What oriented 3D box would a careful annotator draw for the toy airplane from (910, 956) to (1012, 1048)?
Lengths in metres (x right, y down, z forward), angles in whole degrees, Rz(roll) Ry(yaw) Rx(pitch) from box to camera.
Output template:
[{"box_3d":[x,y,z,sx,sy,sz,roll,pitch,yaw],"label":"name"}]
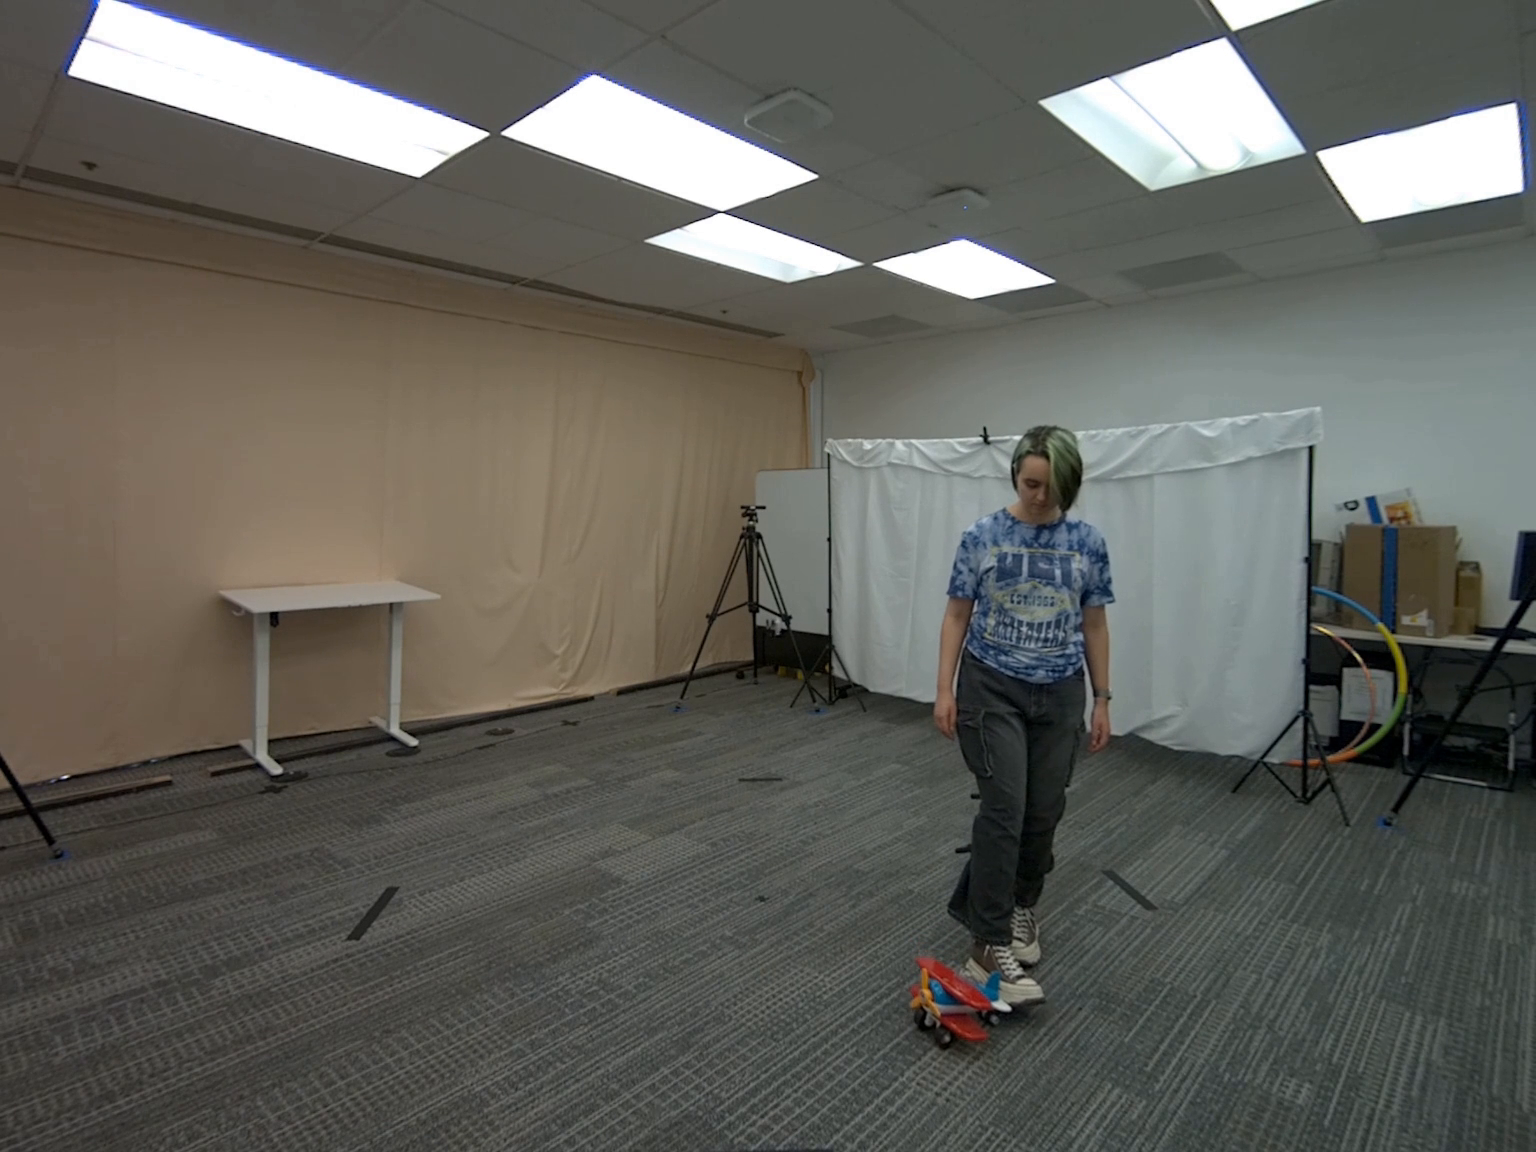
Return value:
[{"box_3d":[0.509,1.130,2.247,0.259,0.156,0.252,2,6,37],"label":"toy airplane"}]
